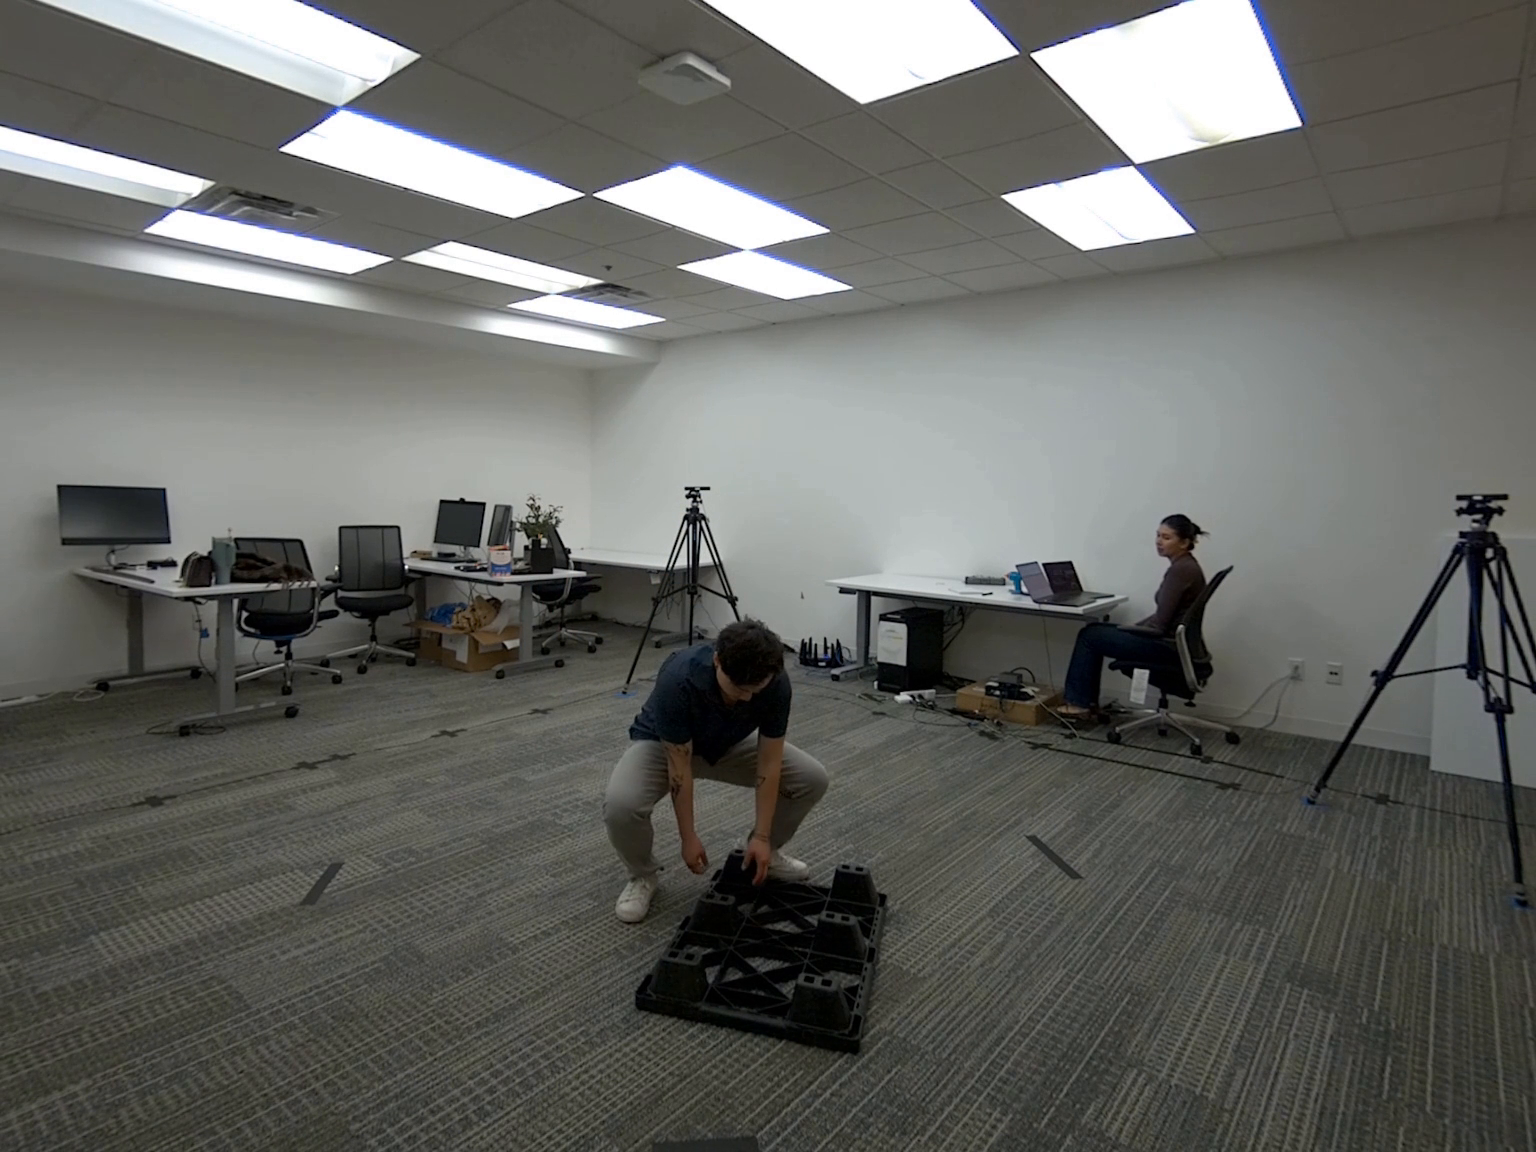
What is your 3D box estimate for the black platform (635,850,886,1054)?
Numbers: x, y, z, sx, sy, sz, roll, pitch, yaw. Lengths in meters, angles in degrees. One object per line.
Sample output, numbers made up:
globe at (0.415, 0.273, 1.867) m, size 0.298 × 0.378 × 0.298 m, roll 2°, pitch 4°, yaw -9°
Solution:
black platform at (0.018, 1.055, 2.551) m, size 0.615 × 0.143 × 0.795 m, roll 2°, pitch 6°, yaw 14°
